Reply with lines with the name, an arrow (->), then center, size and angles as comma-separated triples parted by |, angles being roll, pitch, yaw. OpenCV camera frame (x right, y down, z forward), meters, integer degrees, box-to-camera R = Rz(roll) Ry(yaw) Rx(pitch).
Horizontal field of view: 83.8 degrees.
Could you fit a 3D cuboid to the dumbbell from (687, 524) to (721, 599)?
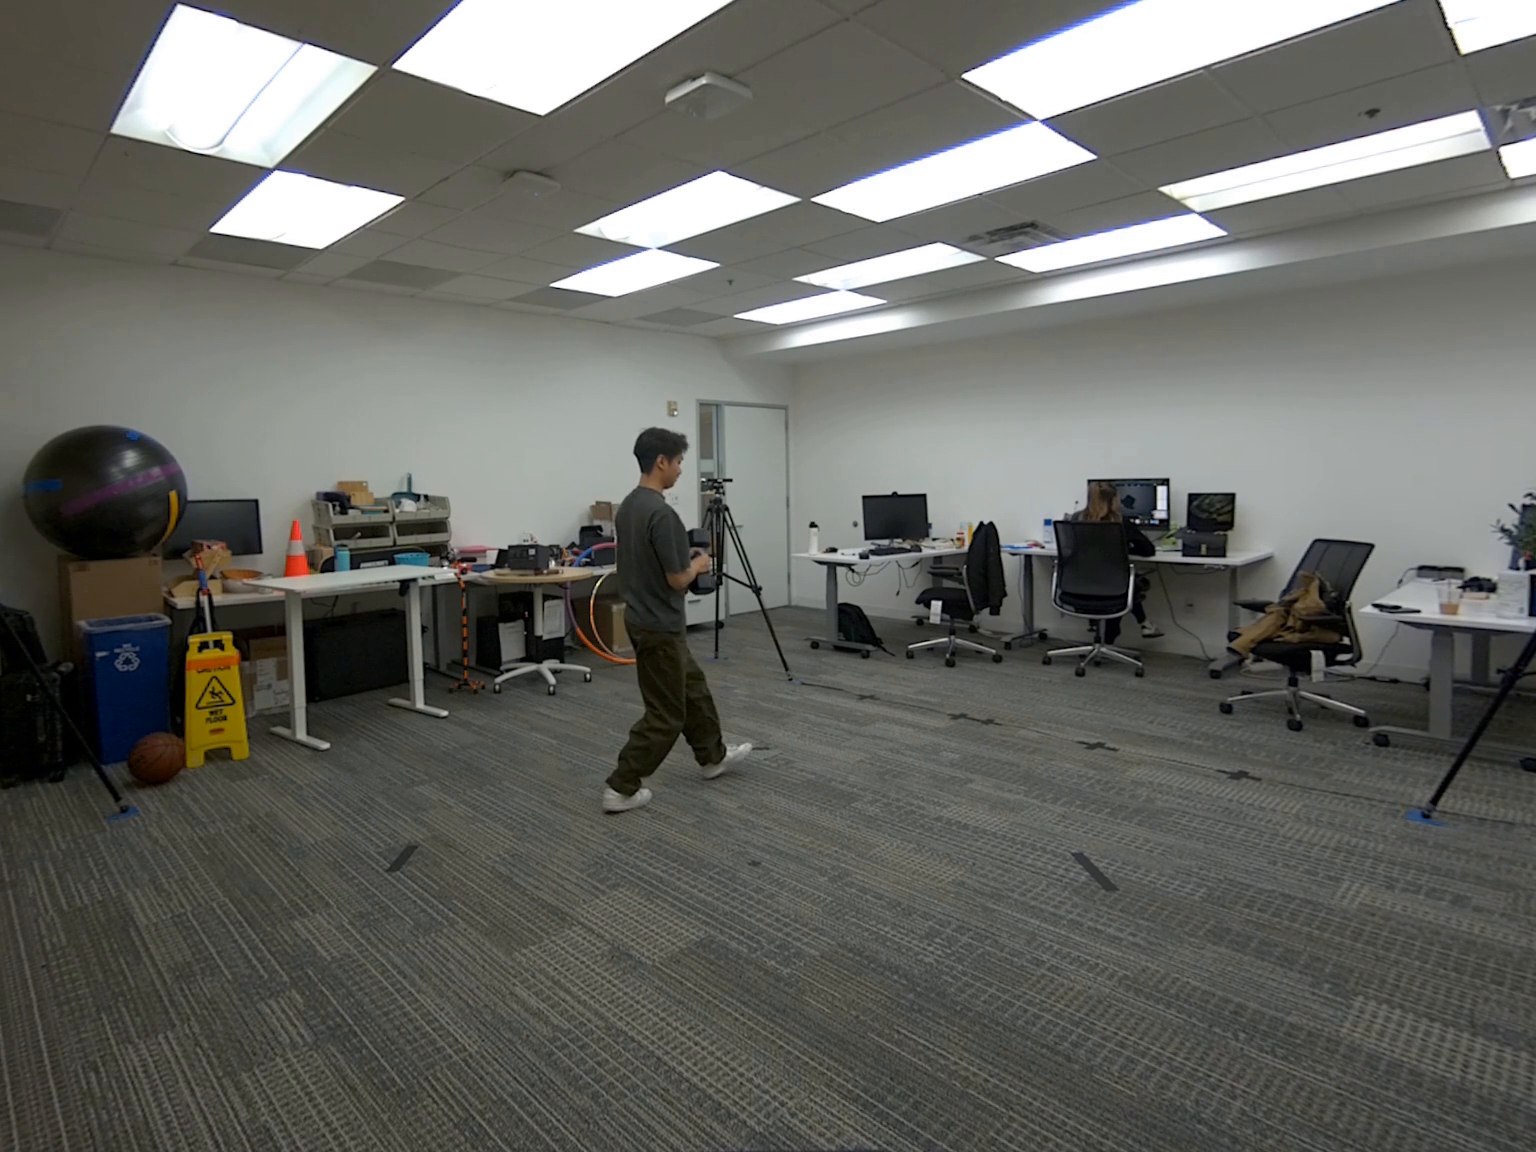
dumbbell -> -0.295, -0.066, 3.853 | 0.109, 0.299, 0.119 | -10, -19, 9
